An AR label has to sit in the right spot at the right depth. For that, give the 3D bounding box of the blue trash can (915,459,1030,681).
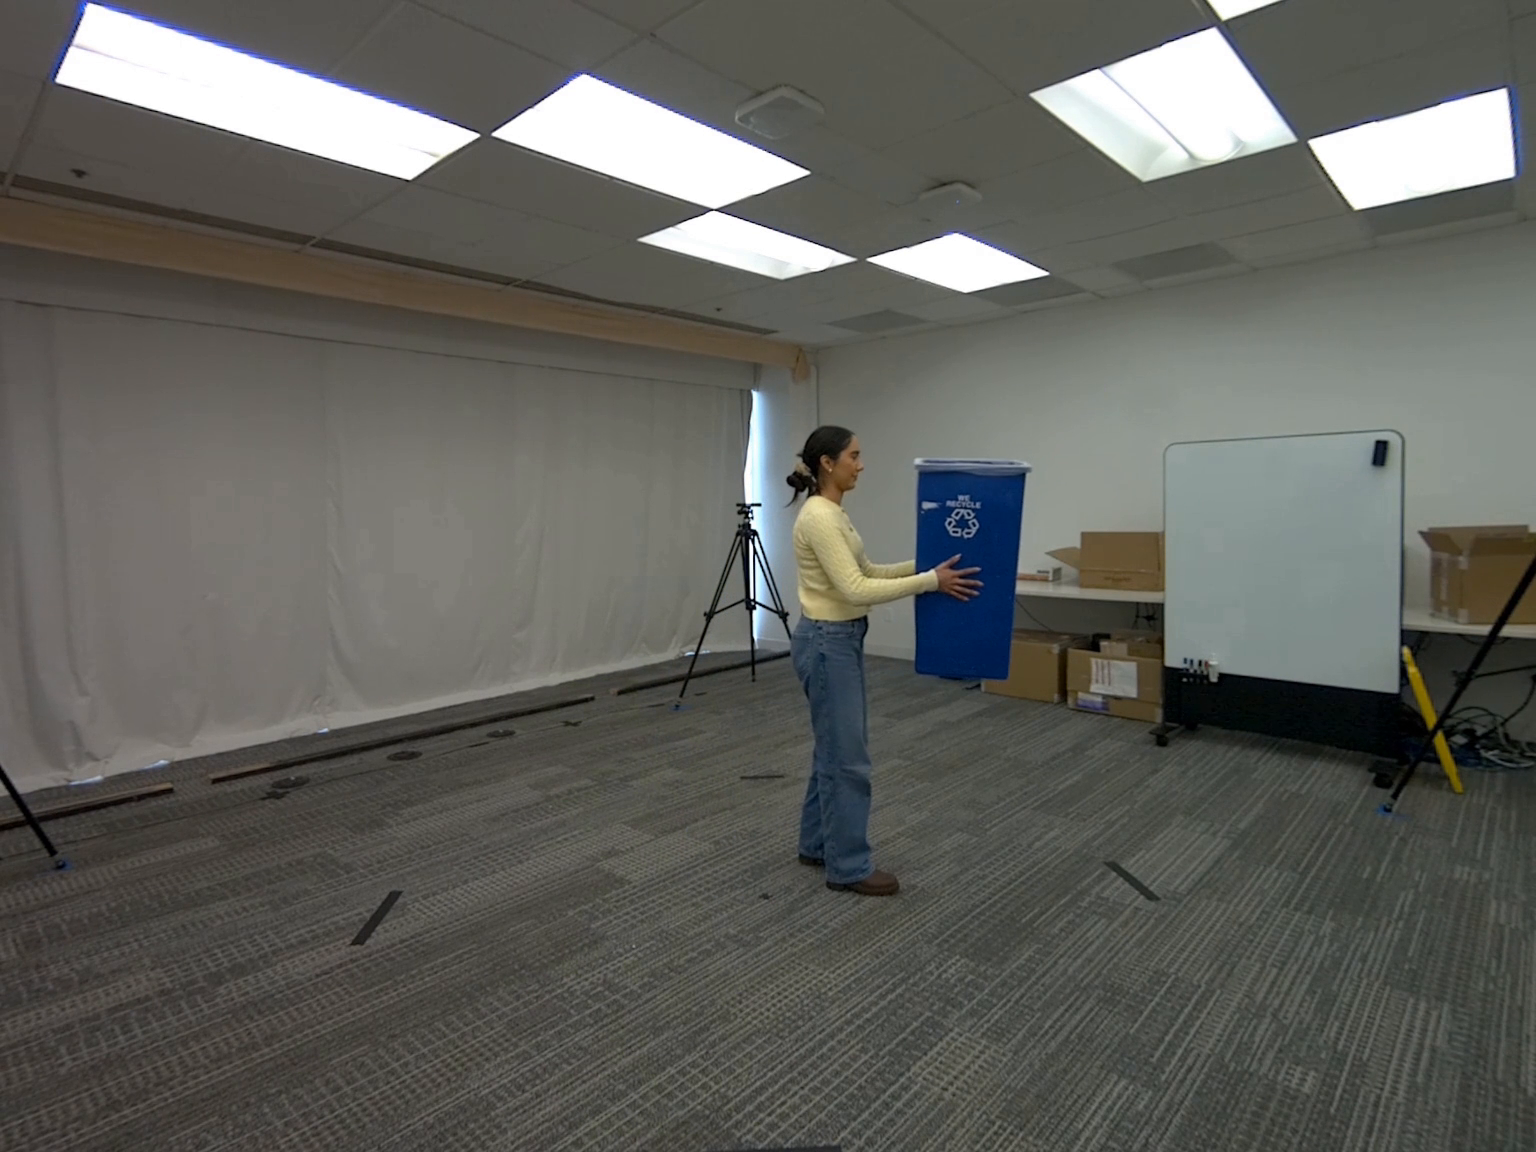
[{"bbox_3d":[0.690,-0.039,2.904,0.379,0.709,0.375,2,9,12],"label":"blue trash can"}]
